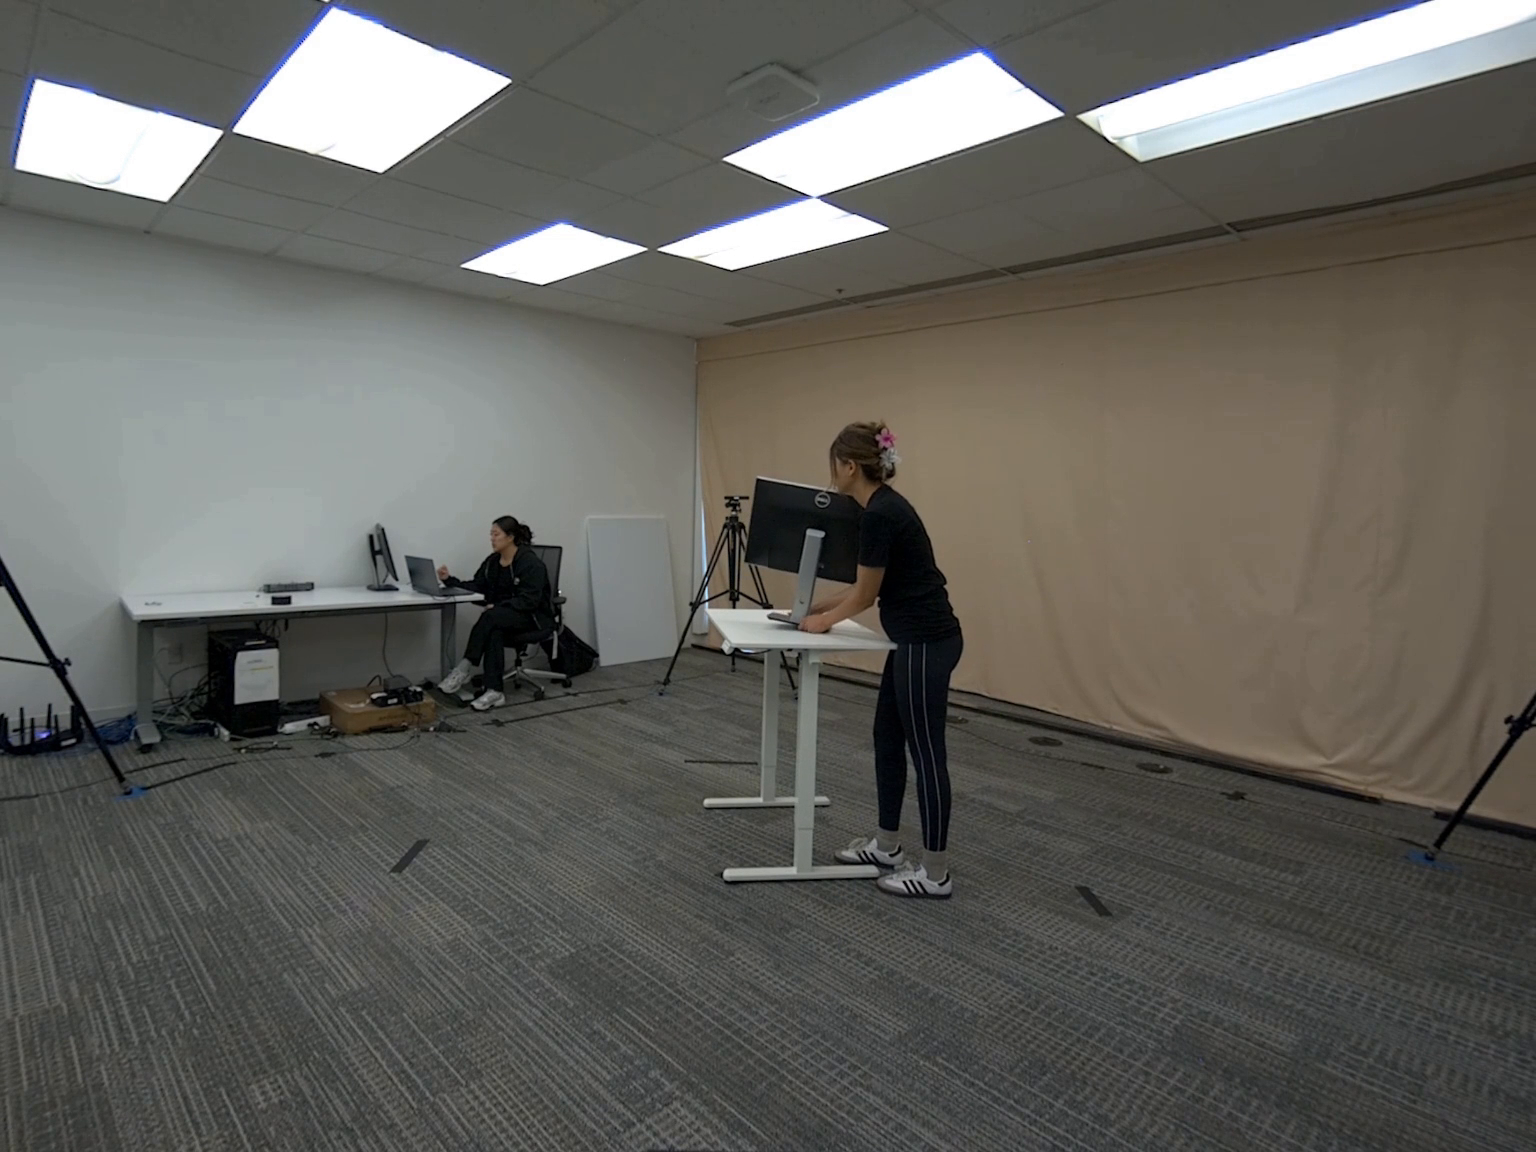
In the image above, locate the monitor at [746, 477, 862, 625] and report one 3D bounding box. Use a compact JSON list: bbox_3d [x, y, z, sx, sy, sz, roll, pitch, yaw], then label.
[{"bbox_3d":[0.170,-0.078,3.326,0.544,0.521,0.186,12,5,10],"label":"monitor"}]
